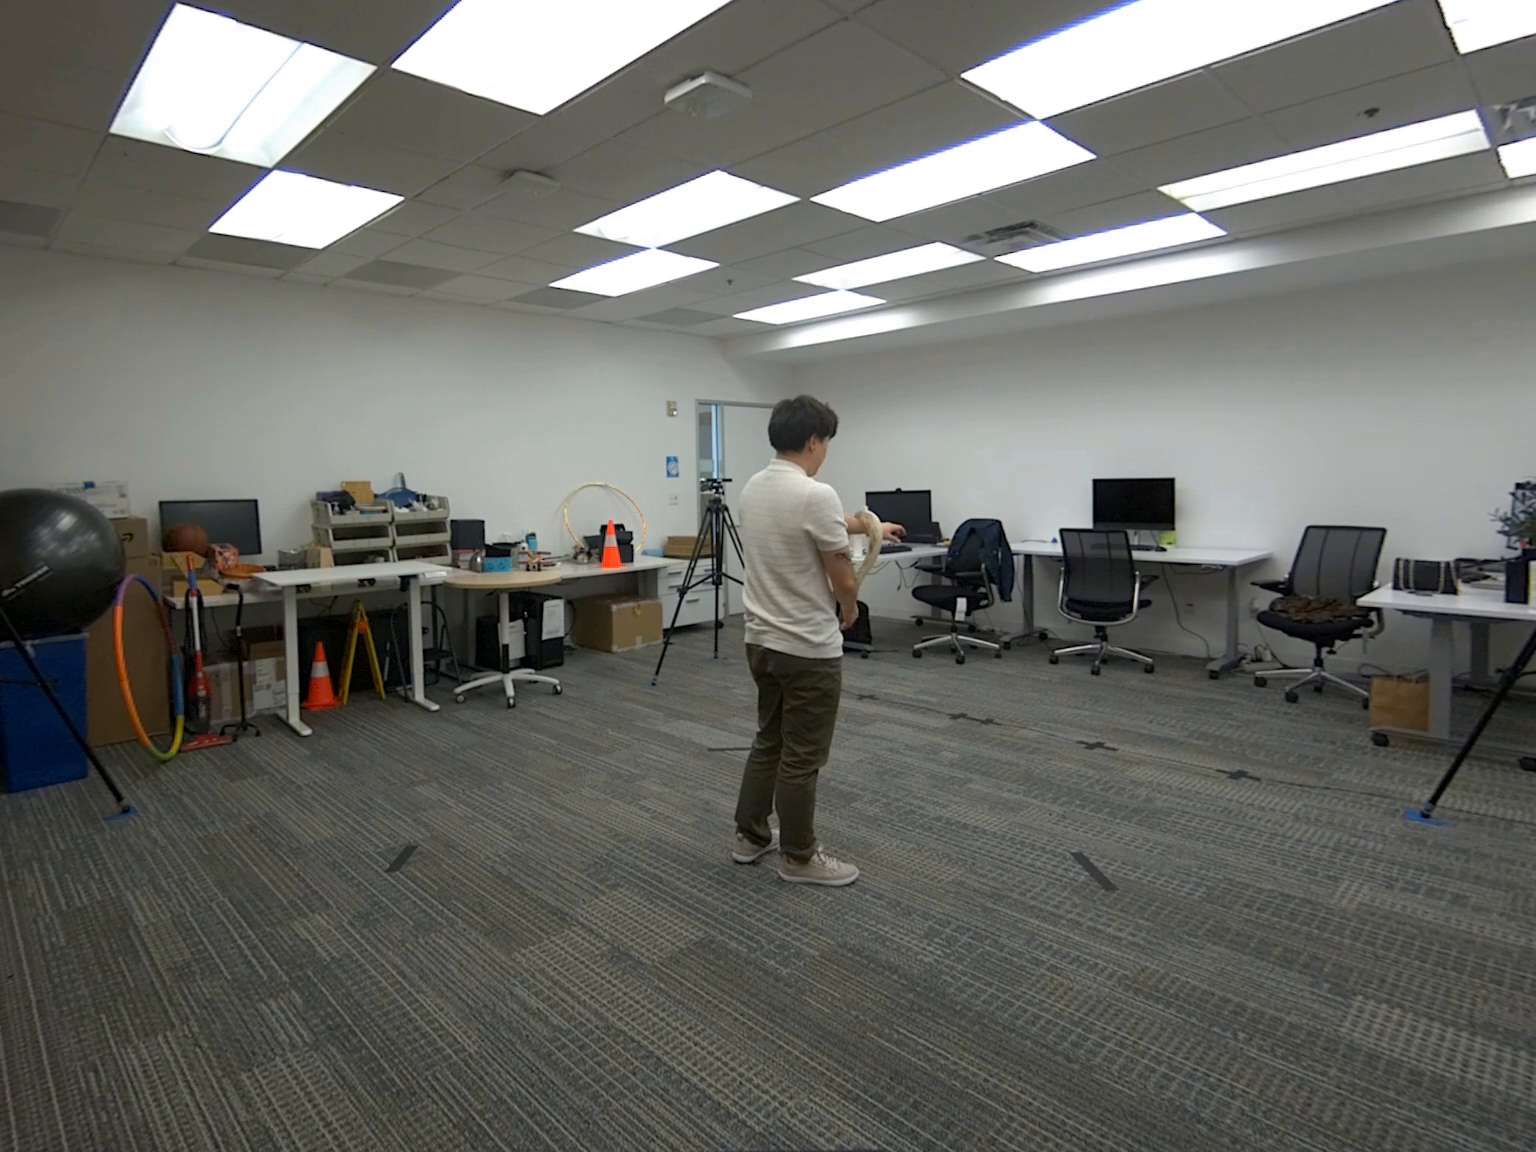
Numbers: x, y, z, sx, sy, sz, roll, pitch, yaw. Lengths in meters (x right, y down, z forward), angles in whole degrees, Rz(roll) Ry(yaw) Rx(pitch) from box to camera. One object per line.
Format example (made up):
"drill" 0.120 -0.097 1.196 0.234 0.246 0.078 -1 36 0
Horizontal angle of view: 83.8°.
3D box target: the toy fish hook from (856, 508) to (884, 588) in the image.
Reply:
"toy fish hook" 0.337 -0.036 3.356 0.047 0.499 0.232 5 30 -21
